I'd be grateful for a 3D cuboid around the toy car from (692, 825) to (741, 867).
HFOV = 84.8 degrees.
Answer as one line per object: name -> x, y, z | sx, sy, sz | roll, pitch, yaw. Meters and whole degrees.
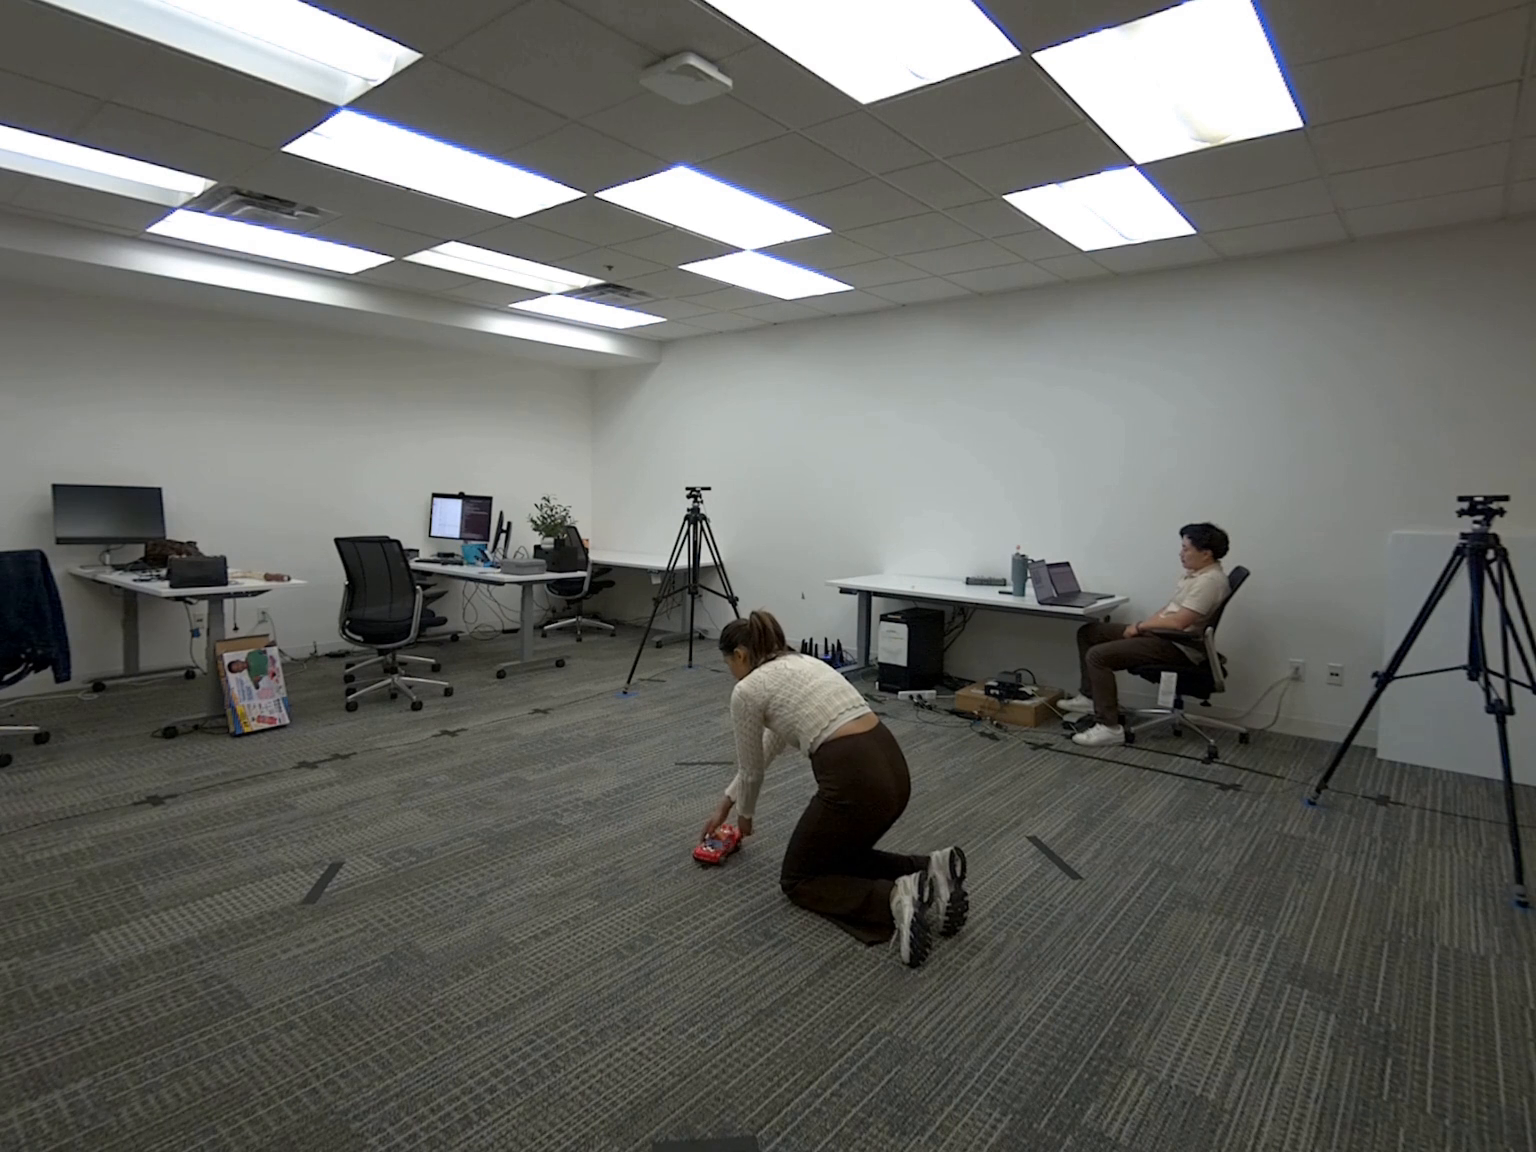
toy car -> -0.188, 1.022, 3.237 | 0.133, 0.082, 0.251 | 2, 16, 24
